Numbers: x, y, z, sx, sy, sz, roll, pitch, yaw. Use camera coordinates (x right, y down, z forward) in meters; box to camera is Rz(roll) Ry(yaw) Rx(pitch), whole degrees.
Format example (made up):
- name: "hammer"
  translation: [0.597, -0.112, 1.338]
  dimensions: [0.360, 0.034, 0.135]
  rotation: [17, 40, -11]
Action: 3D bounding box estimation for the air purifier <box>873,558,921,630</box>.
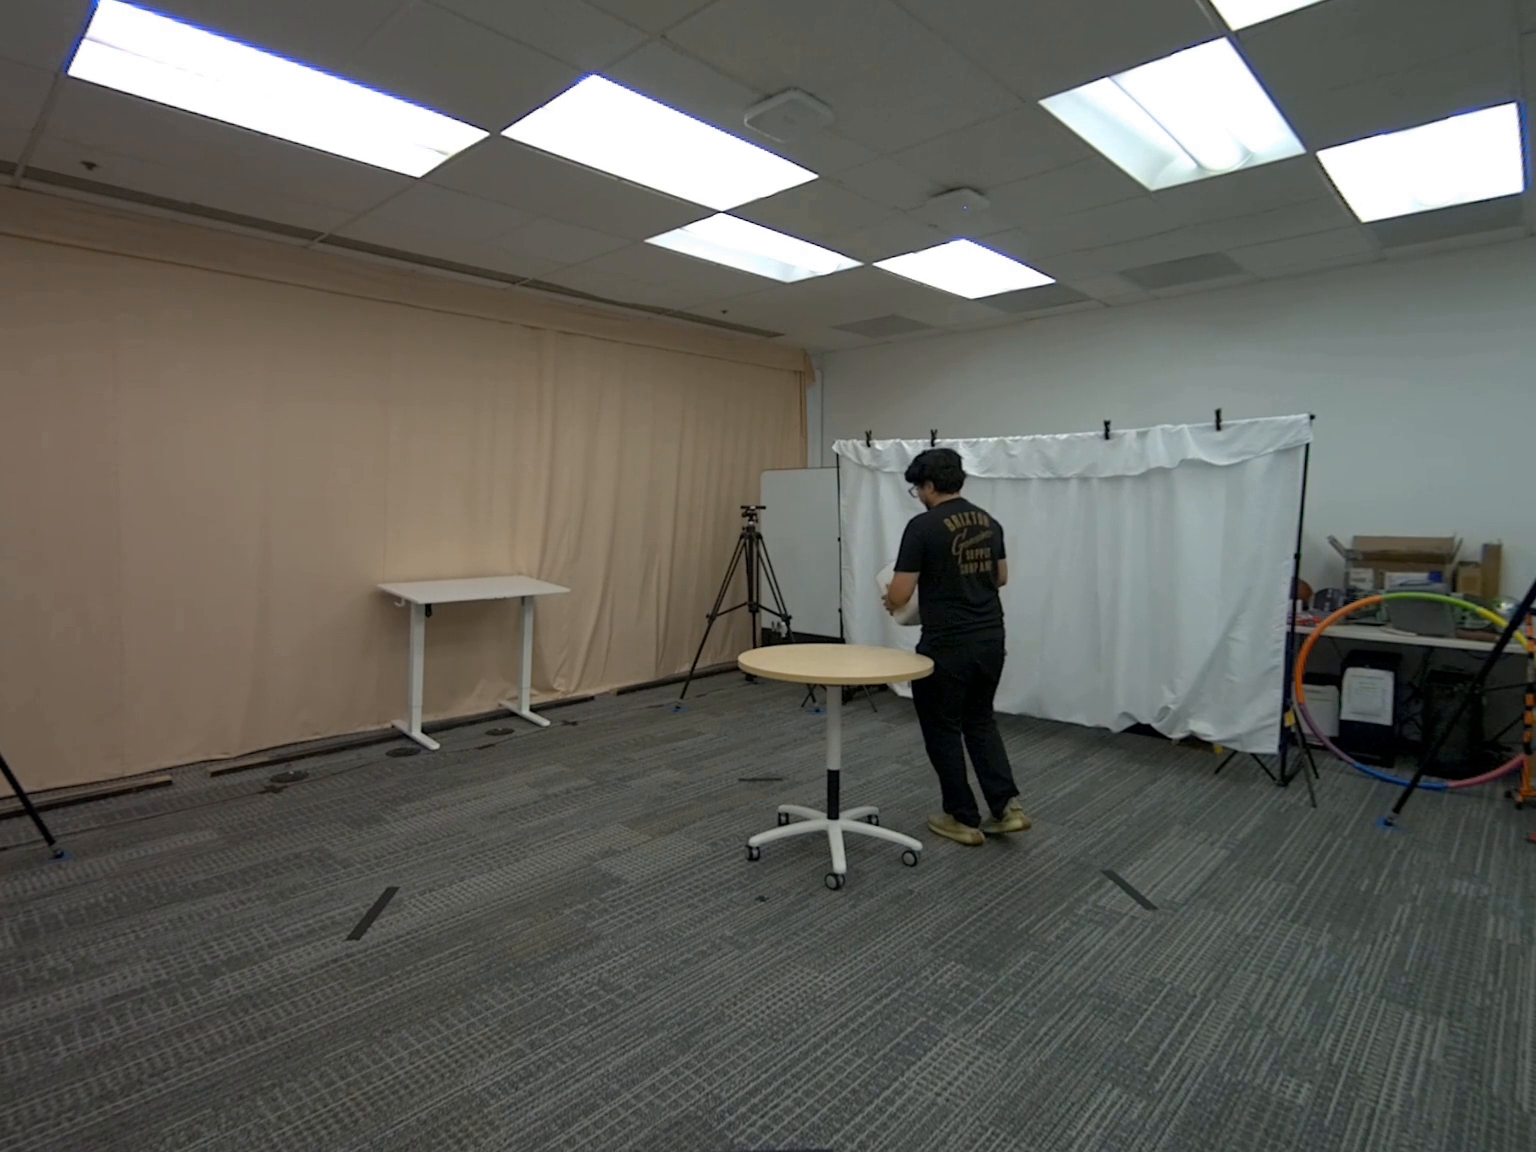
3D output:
- name: "air purifier"
  translation: [0.636, 0.075, 3.783]
  dimensions: [0.163, 0.269, 0.174]
  rotation: [-1, -37, -37]
